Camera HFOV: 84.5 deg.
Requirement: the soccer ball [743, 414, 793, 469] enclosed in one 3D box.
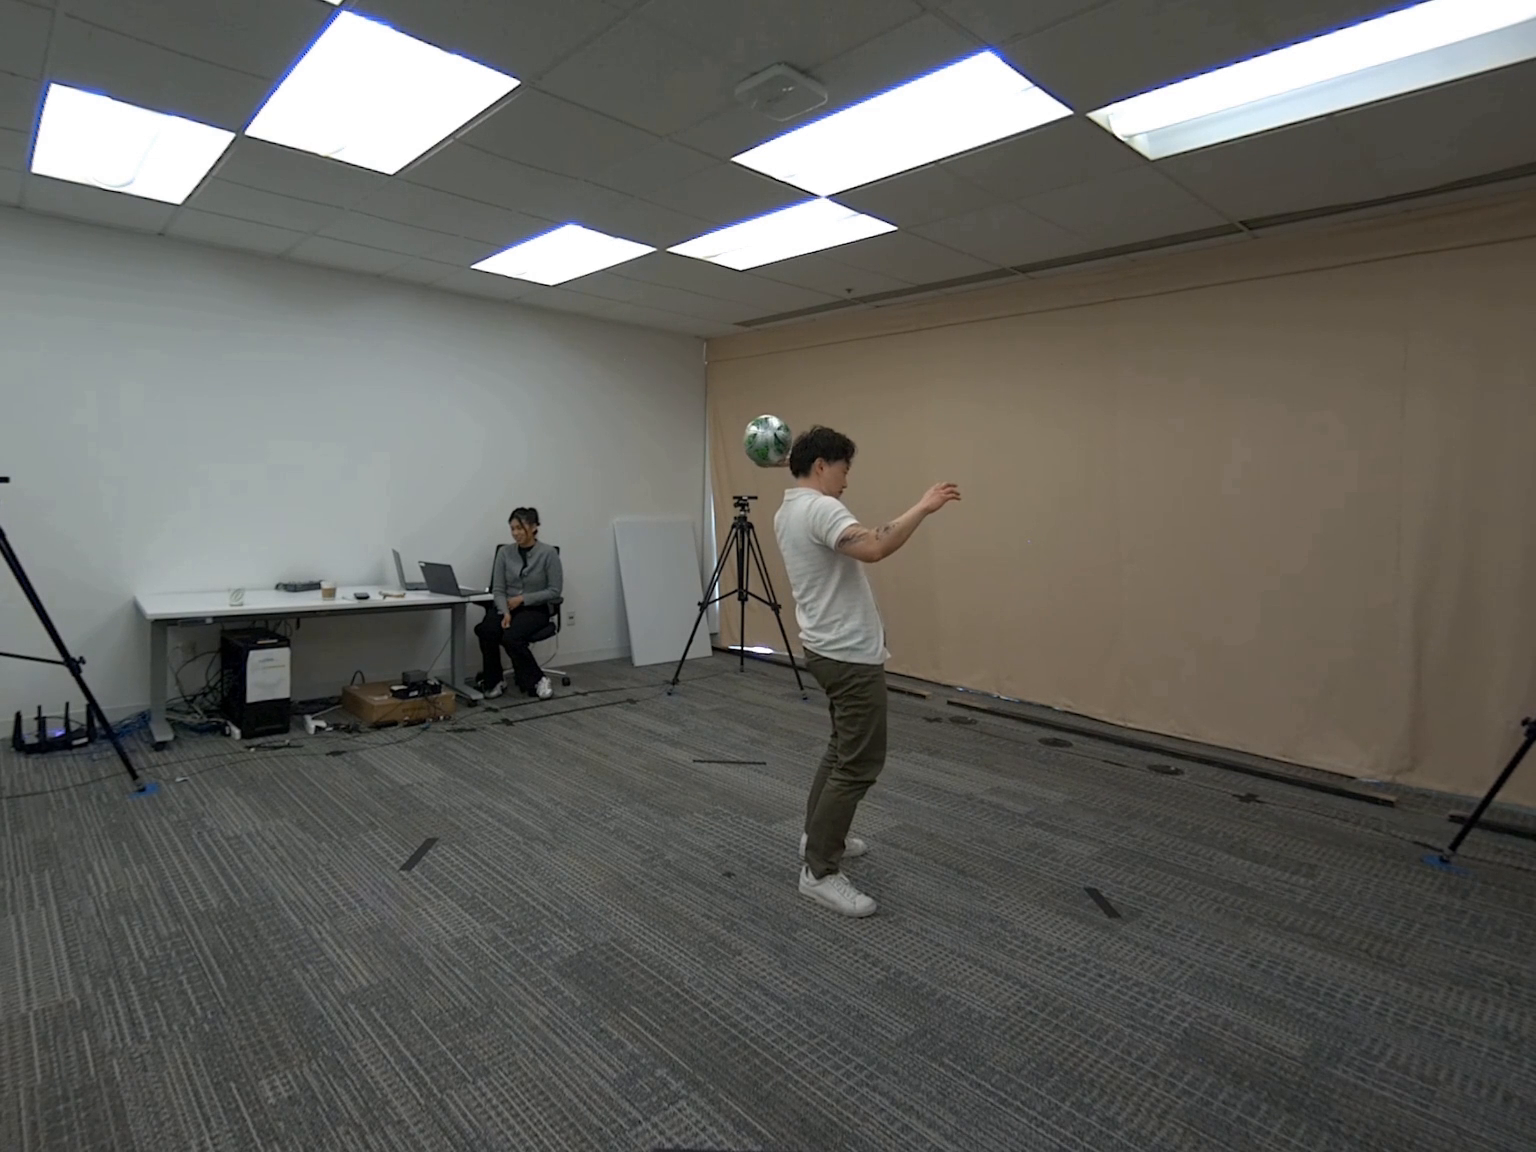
[{"bbox_3d":[-0.004,-0.513,3.173,0.187,0.187,0.188,1,4,-1],"label":"soccer ball"}]
